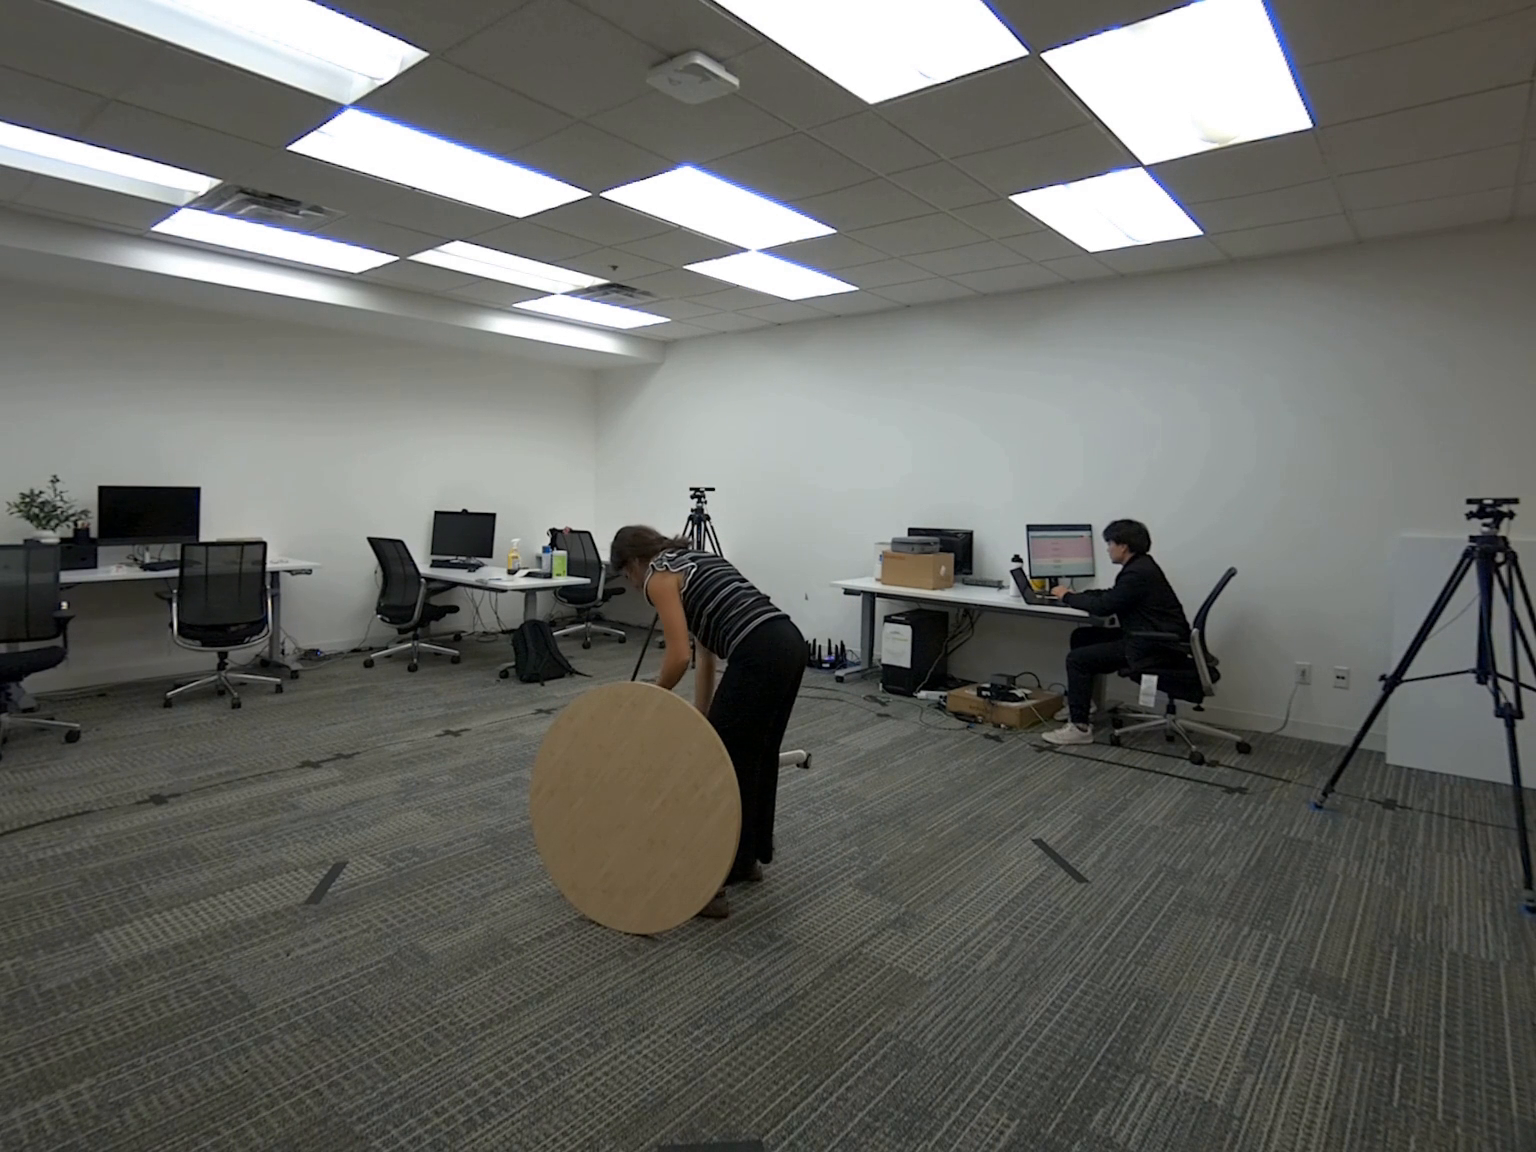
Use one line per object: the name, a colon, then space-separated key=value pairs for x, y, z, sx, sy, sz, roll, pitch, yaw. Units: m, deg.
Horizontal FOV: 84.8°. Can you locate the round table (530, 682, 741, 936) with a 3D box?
round table: x=-0.308 y=0.745 z=3.041 sx=0.784 sy=0.766 sz=0.771 roll=3 pitch=-3 yaw=25
